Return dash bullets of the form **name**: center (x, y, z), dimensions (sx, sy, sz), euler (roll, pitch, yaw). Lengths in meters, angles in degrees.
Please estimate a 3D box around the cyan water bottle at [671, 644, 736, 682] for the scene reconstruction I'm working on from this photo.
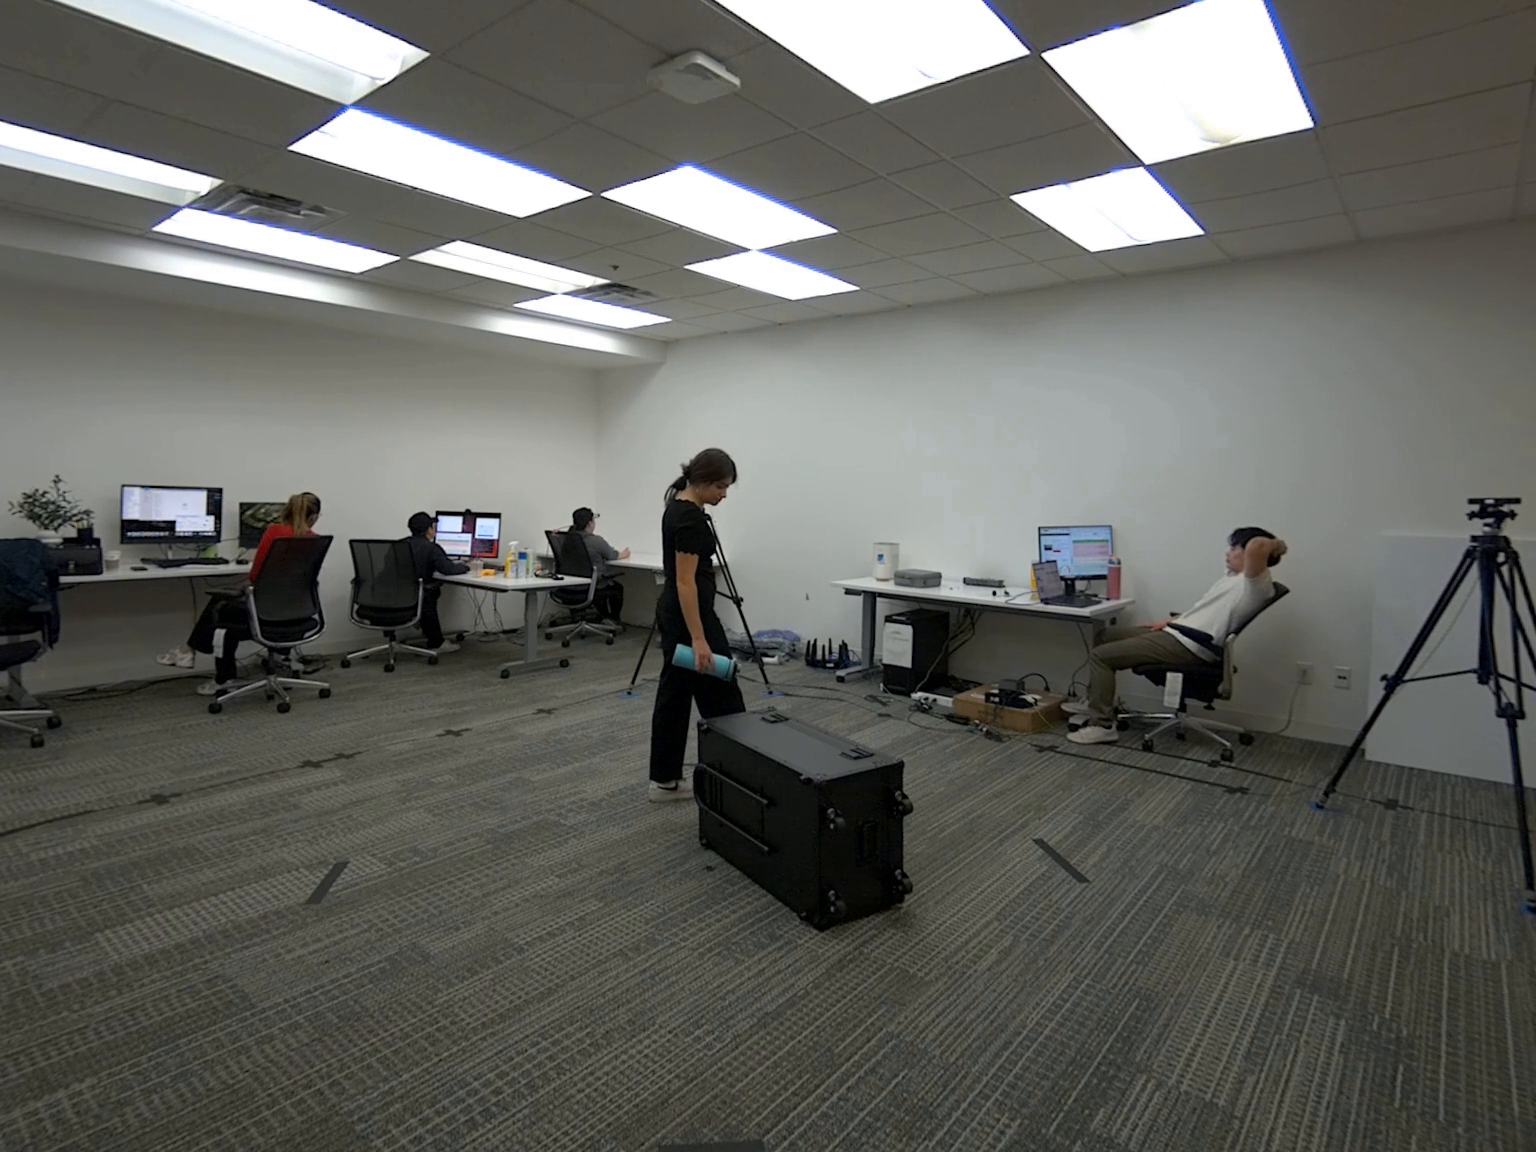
- **cyan water bottle**: center (-0.265, 0.362, 3.569), dimensions (0.282, 0.092, 0.093), euler (17, 2, -4)
